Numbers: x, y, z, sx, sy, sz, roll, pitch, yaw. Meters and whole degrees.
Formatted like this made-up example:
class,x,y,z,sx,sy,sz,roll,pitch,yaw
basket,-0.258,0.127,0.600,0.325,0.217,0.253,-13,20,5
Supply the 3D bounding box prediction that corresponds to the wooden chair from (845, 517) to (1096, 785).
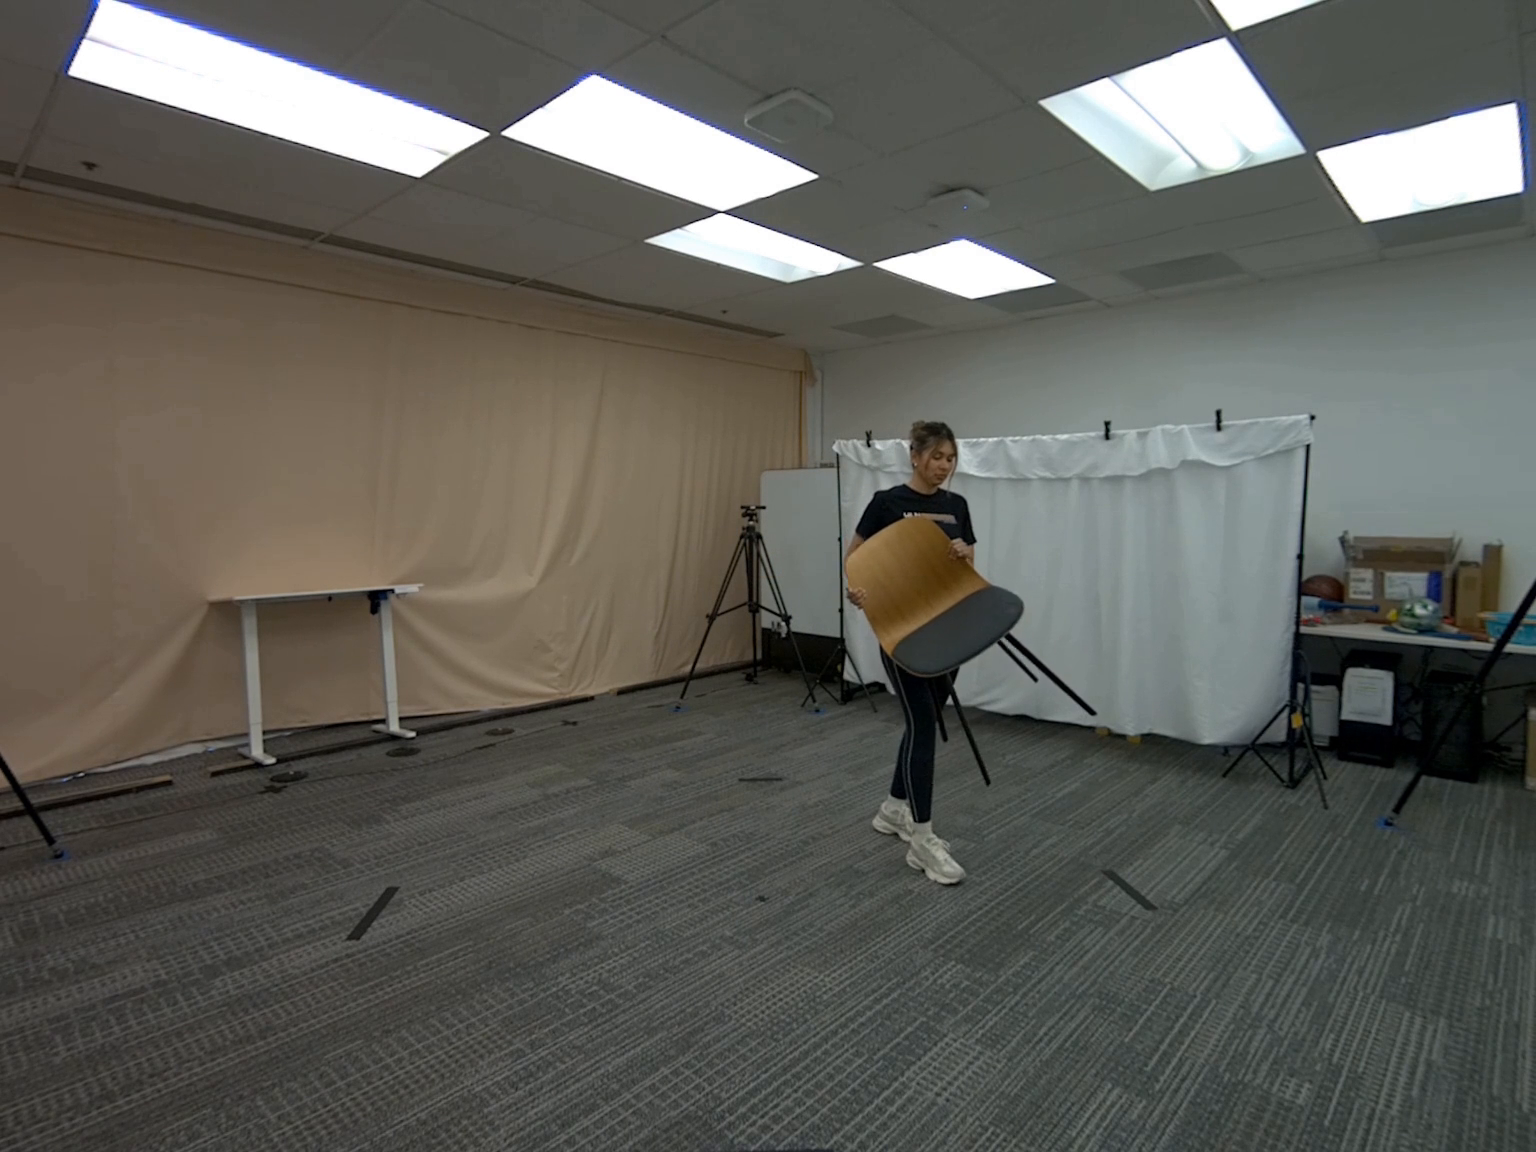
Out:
class,x,y,z,sx,sy,sz,roll,pitch,yaw
wooden chair,0.693,0.221,3.056,0.477,0.873,0.526,-32,5,-2
